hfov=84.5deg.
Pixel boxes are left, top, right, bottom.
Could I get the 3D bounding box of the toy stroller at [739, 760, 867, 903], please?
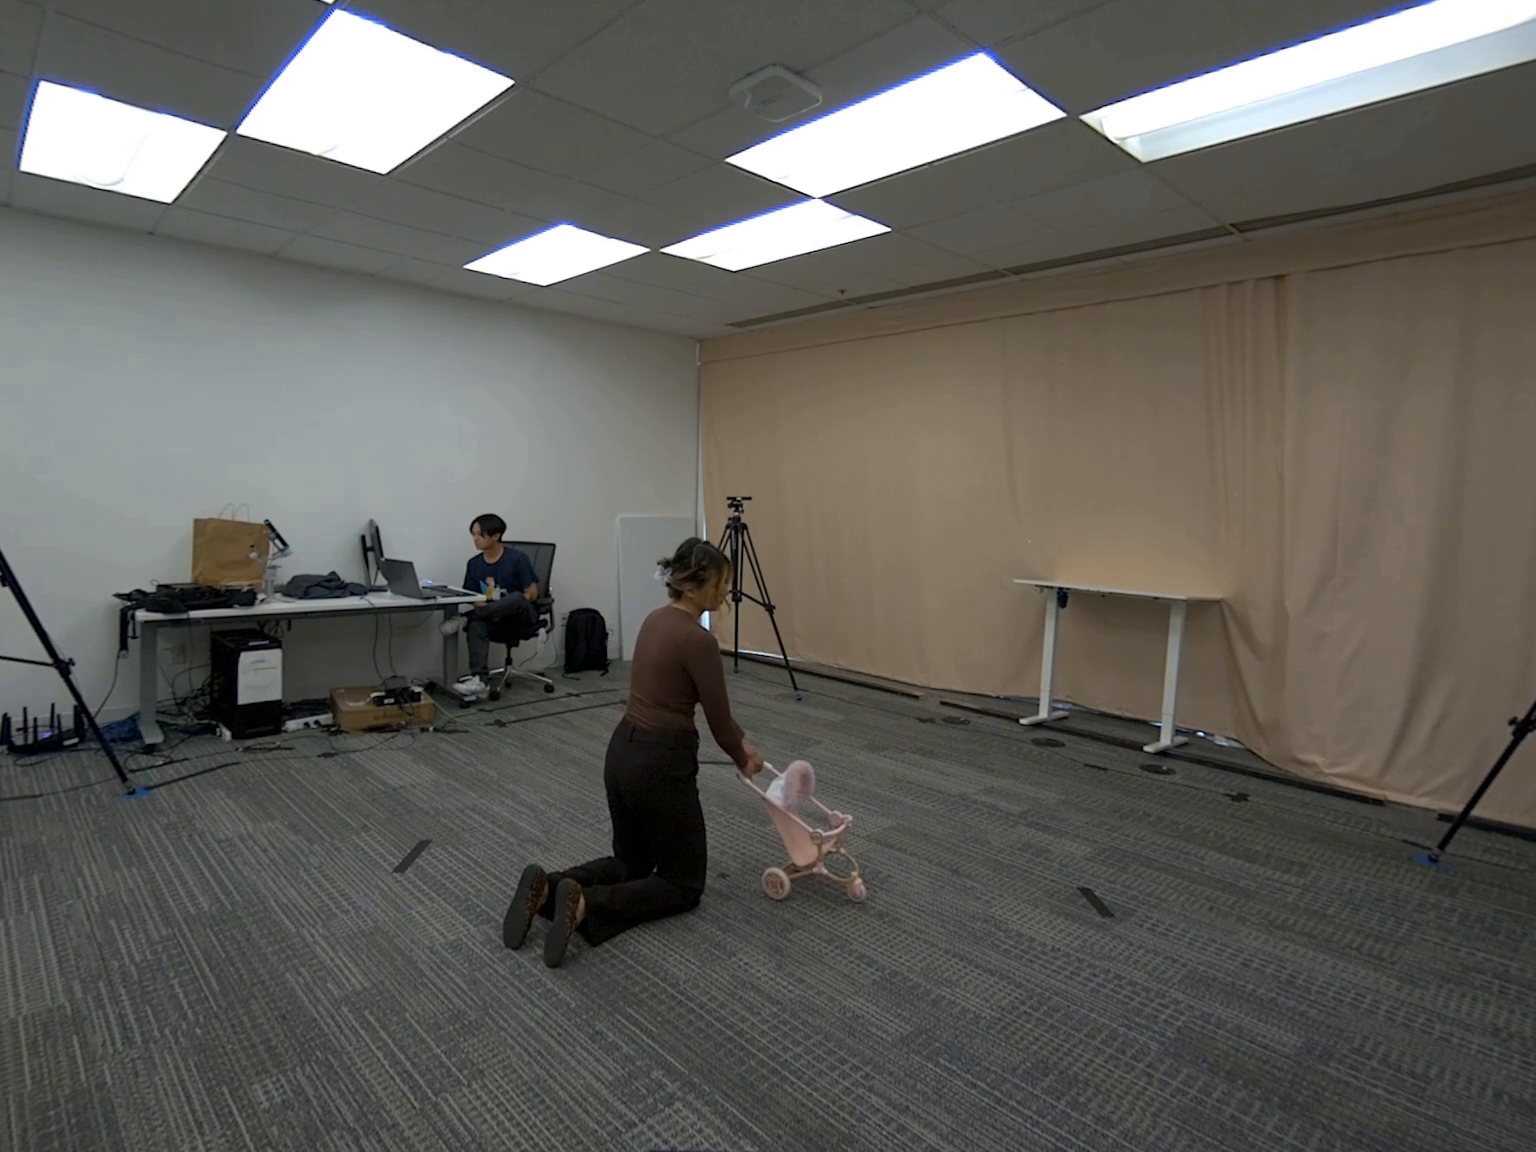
[{"bbox_3d":[0.130,0.901,3.001,0.346,0.538,0.276,-17,-6,30],"label":"toy stroller"}]
